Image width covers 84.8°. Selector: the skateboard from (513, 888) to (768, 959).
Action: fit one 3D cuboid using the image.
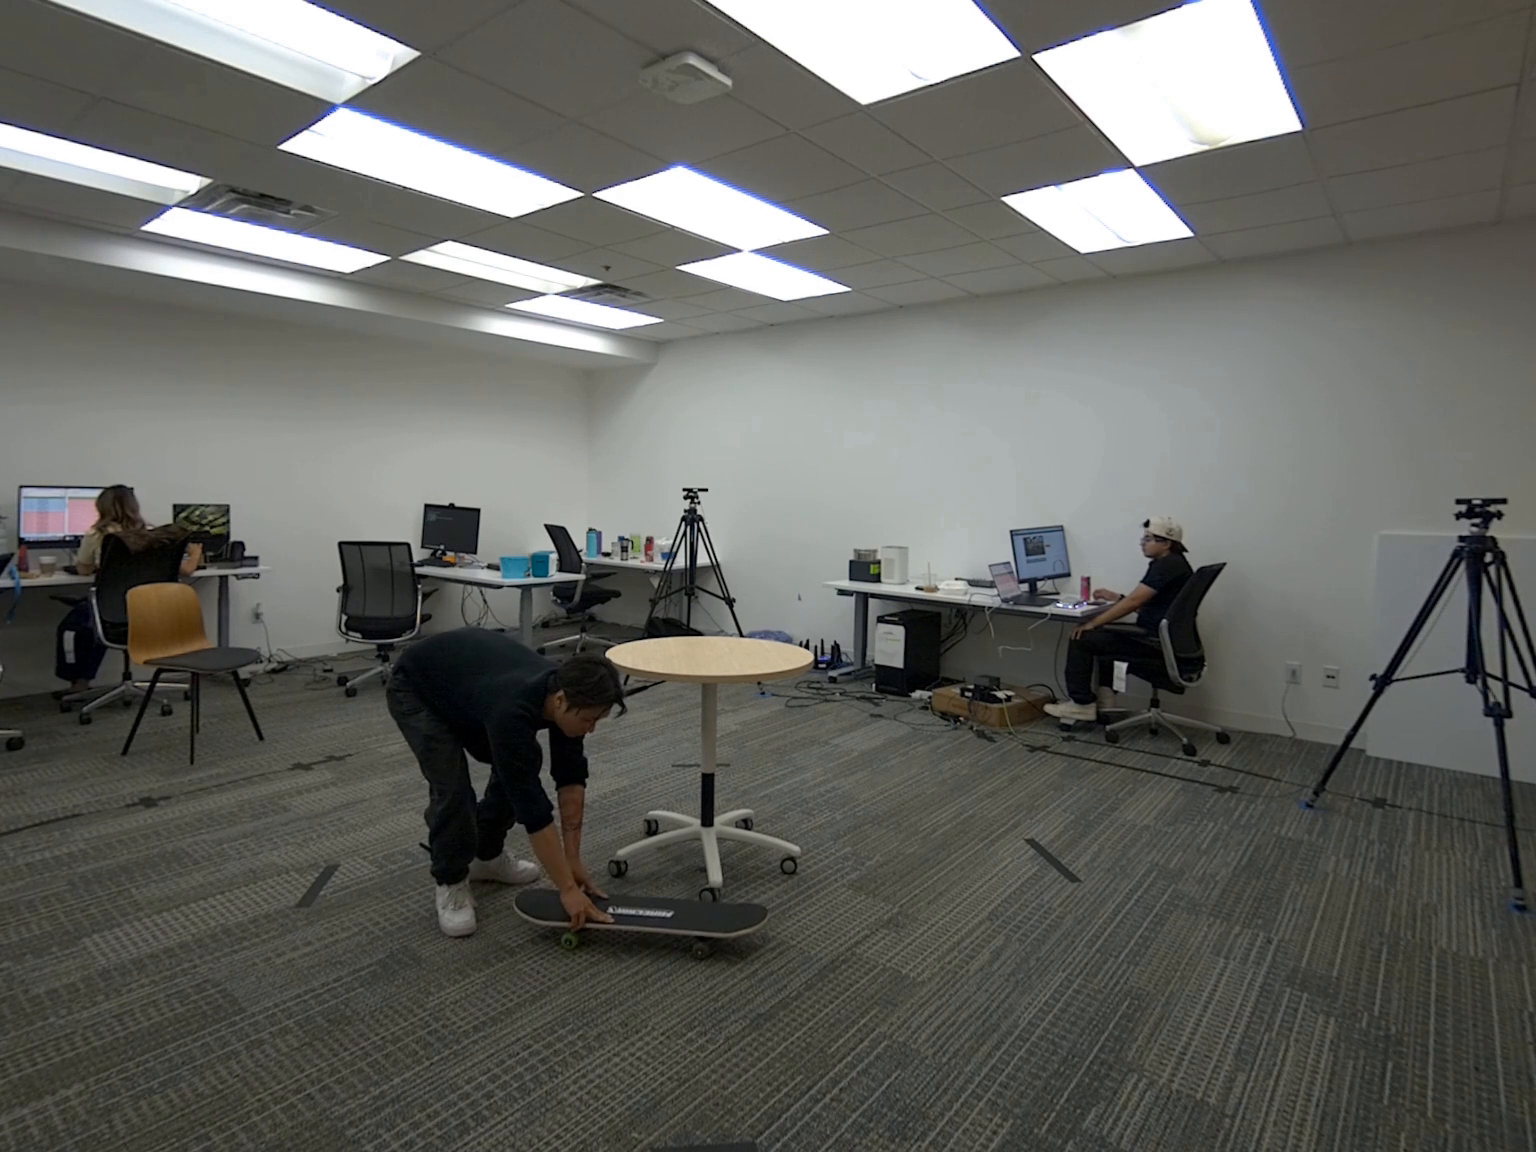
[{"bbox_3d":[-0.408,1.060,2.604,0.791,0.110,0.193,2,5,6],"label":"skateboard"}]
